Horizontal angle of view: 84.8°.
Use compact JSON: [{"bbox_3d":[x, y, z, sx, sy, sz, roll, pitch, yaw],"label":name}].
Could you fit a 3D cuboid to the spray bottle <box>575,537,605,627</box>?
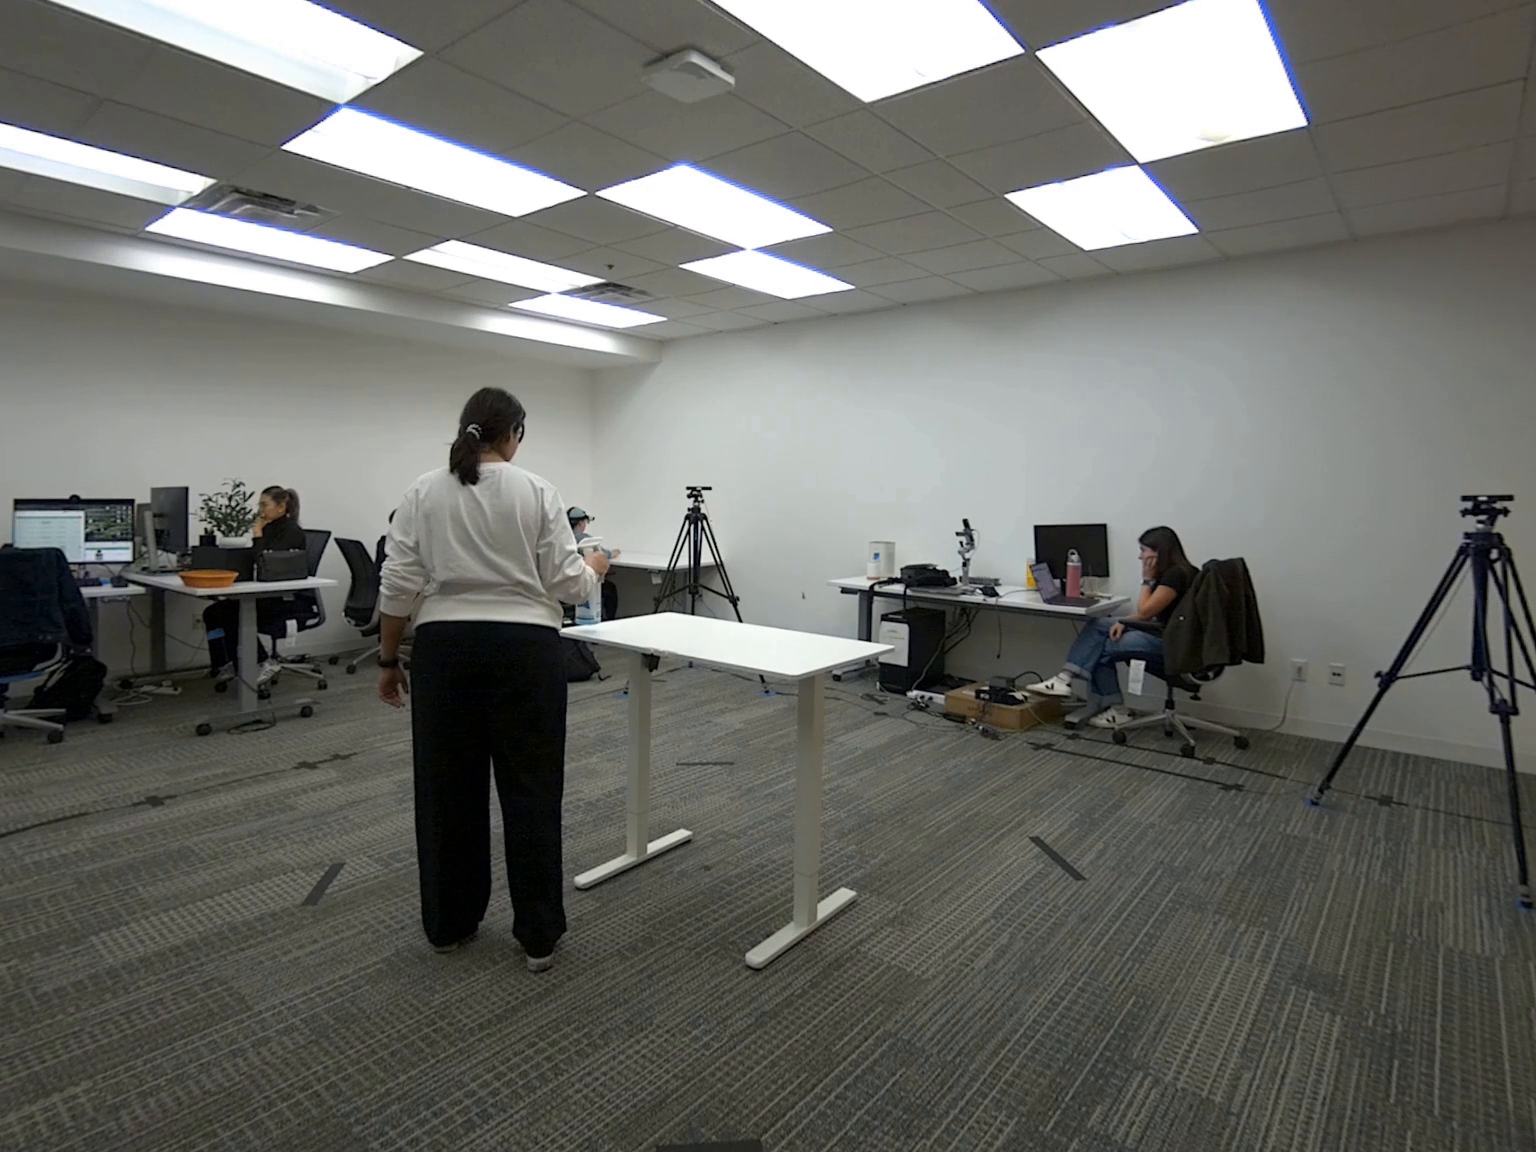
[{"bbox_3d":[-0.618,0.019,2.918,0.090,0.295,0.088,1,7,-4],"label":"spray bottle"}]
